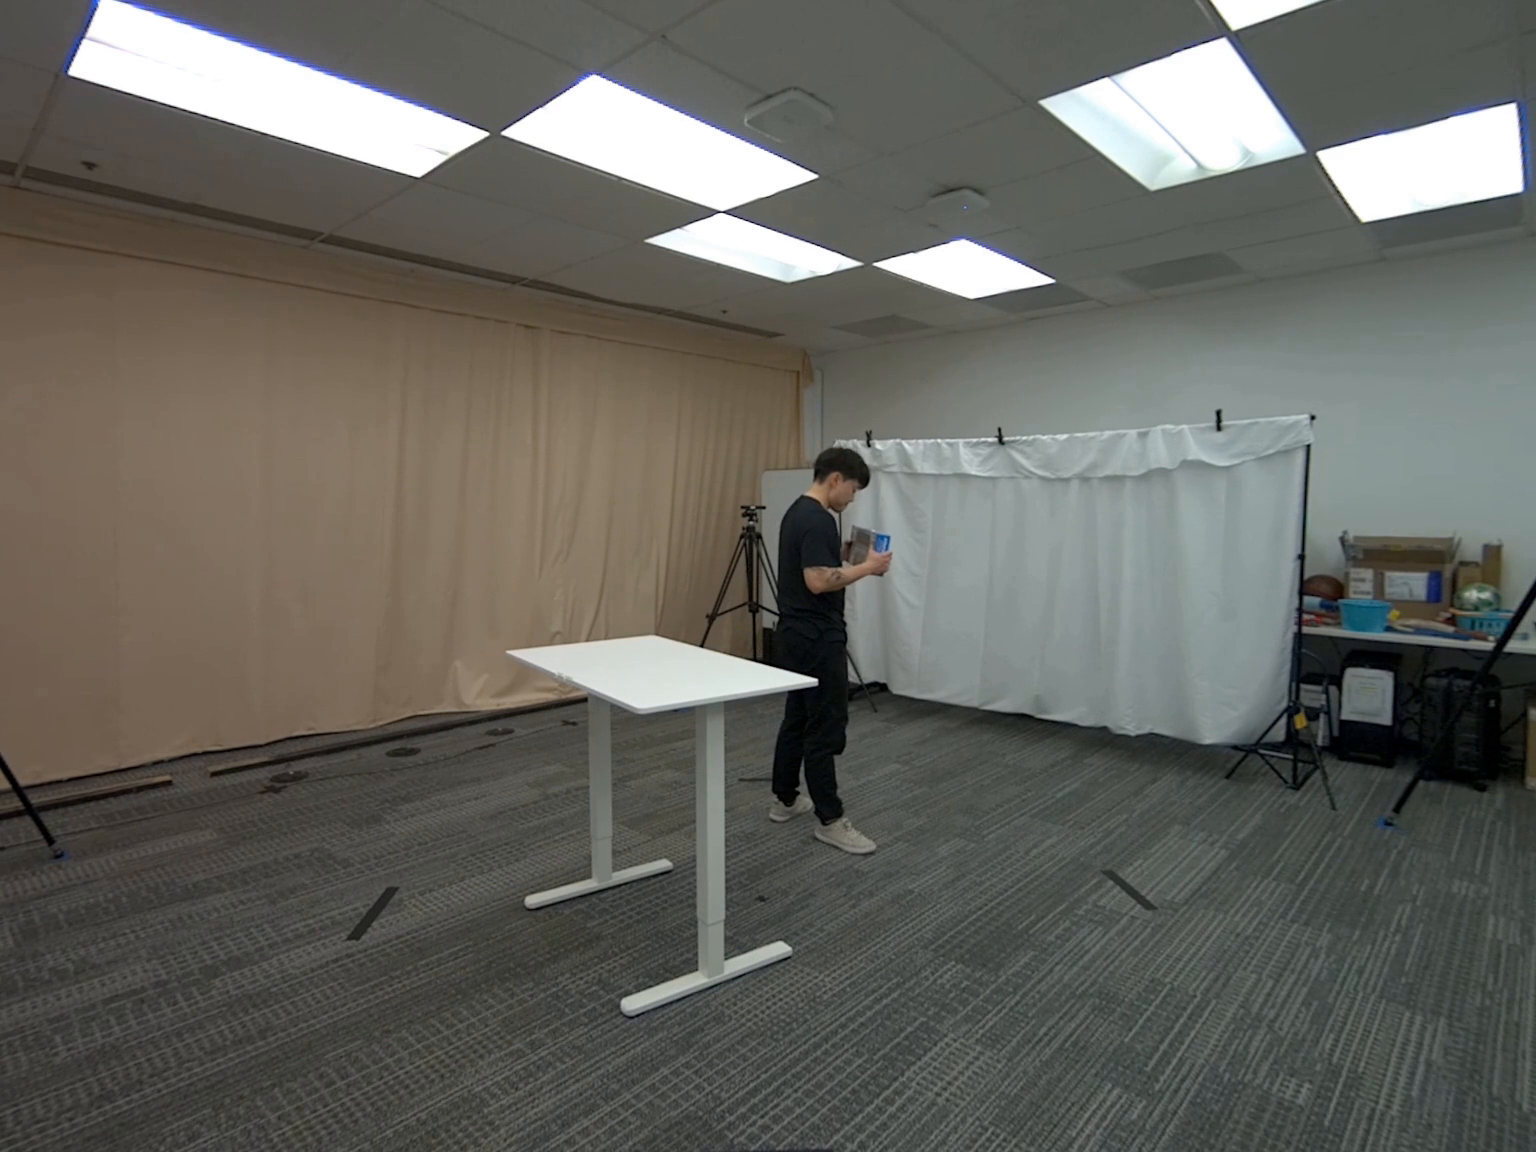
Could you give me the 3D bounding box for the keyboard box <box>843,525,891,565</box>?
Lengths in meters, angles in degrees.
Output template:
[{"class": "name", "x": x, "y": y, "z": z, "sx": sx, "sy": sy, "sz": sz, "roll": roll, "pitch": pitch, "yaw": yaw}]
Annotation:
[{"class": "keyboard box", "x": 0.427, "y": -0.114, "z": 3.657, "sx": 0.058, "sy": 0.175, "sz": 0.442, "roll": 11, "pitch": 7, "yaw": -9}]
